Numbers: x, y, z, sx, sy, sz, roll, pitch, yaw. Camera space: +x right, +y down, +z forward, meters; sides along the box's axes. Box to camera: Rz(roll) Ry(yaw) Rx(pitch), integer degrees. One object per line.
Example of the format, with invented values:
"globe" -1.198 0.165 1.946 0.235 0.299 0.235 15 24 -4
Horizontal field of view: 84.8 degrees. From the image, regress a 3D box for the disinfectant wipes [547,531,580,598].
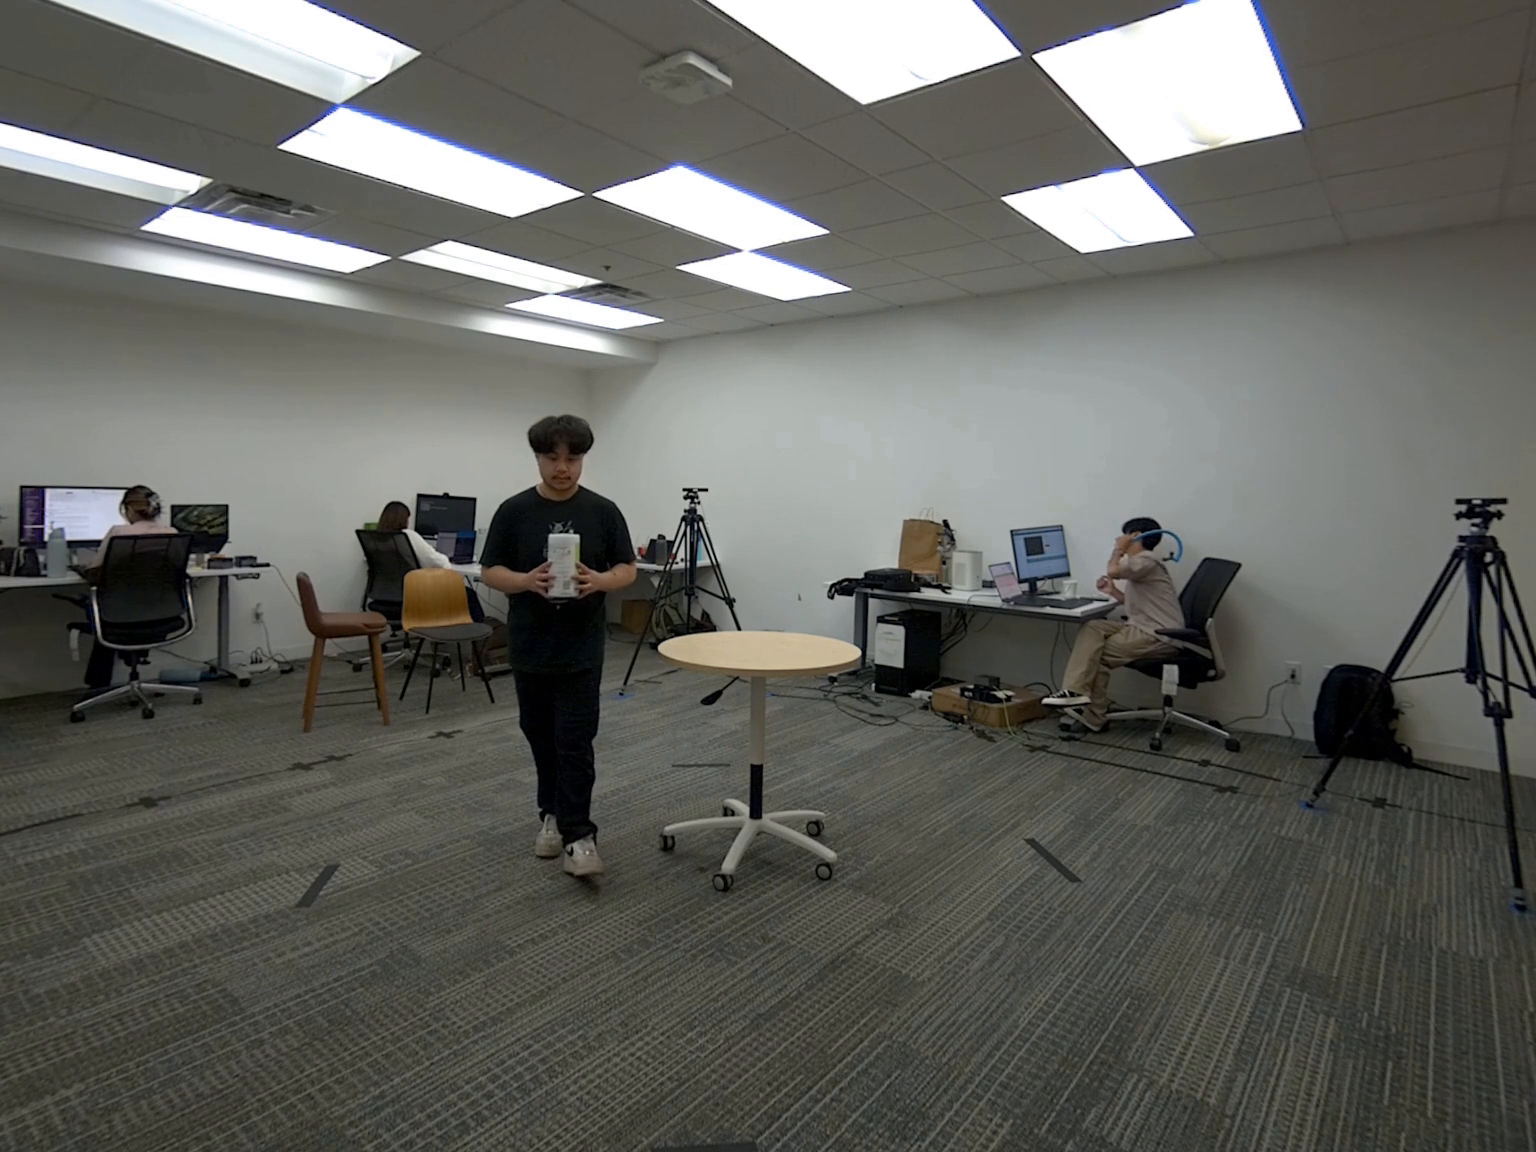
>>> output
"disinfectant wipes" -0.722 -0.044 2.952 0.117 0.217 0.118 3 2 -2
